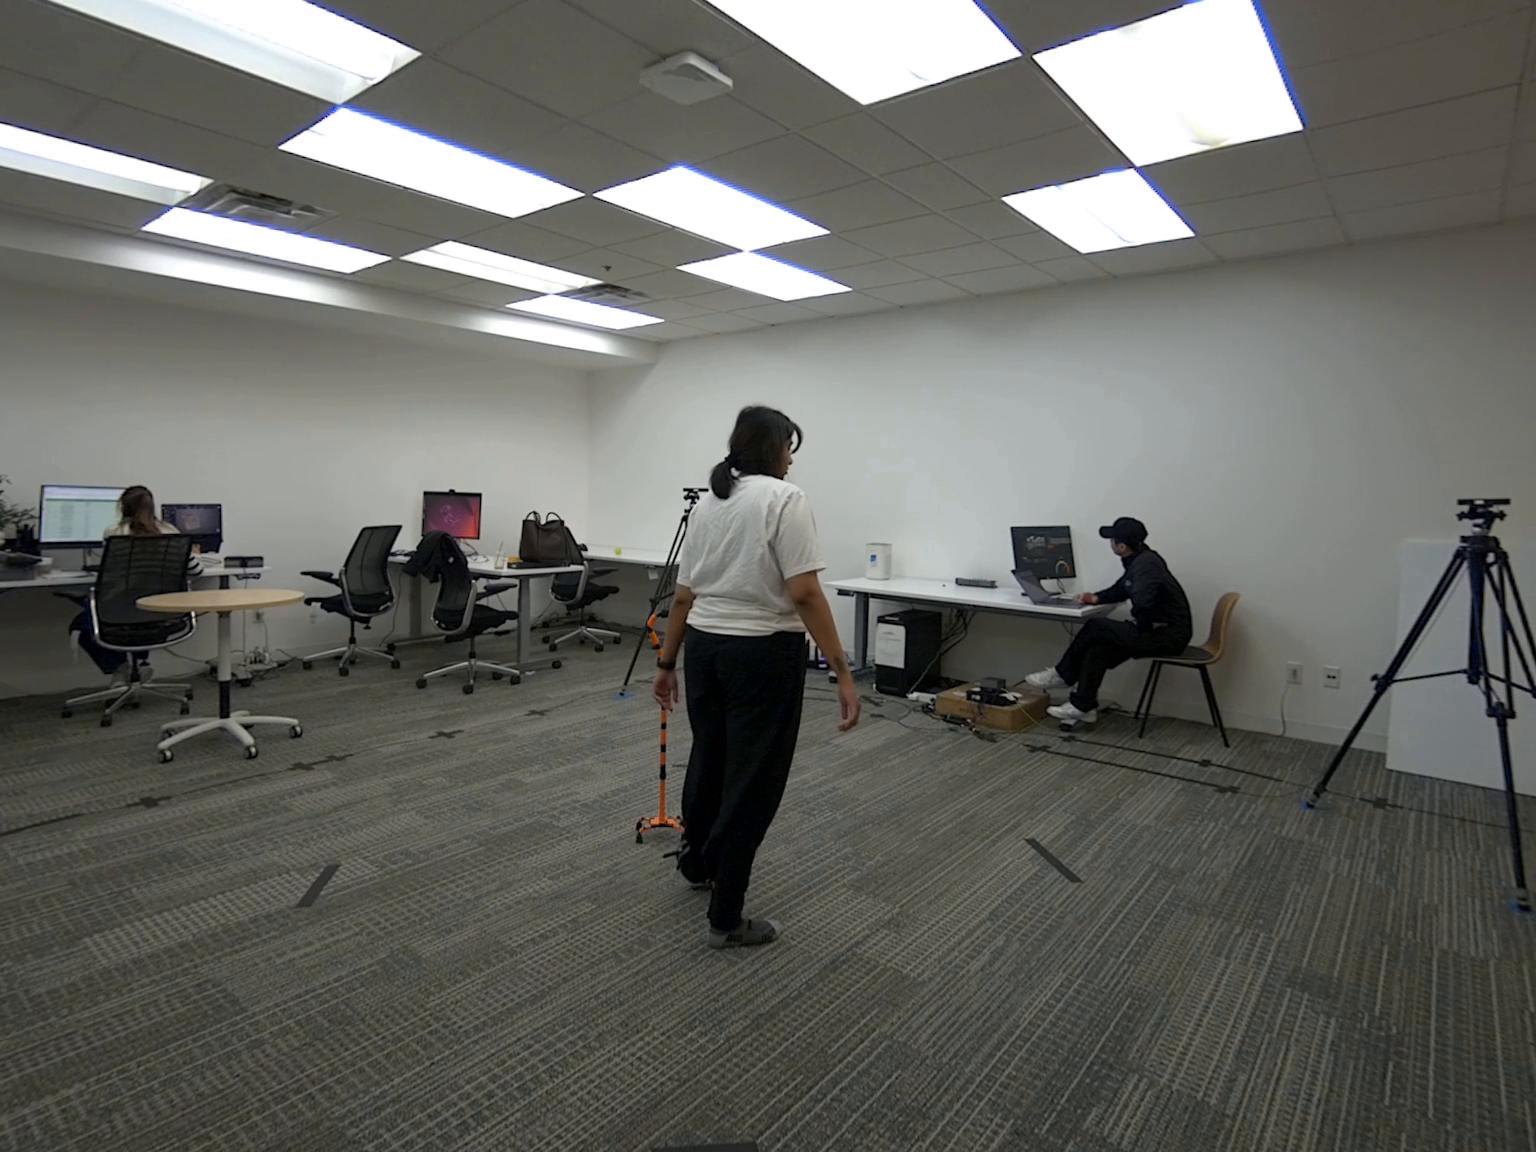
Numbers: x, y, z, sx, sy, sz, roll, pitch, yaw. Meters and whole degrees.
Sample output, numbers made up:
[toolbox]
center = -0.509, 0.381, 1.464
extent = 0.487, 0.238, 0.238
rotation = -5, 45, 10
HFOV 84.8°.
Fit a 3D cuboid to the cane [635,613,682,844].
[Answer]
[cane]
center = -0.430, 0.589, 3.387
extent = 0.205, 0.905, 0.153
rotation = 1, 3, -8
